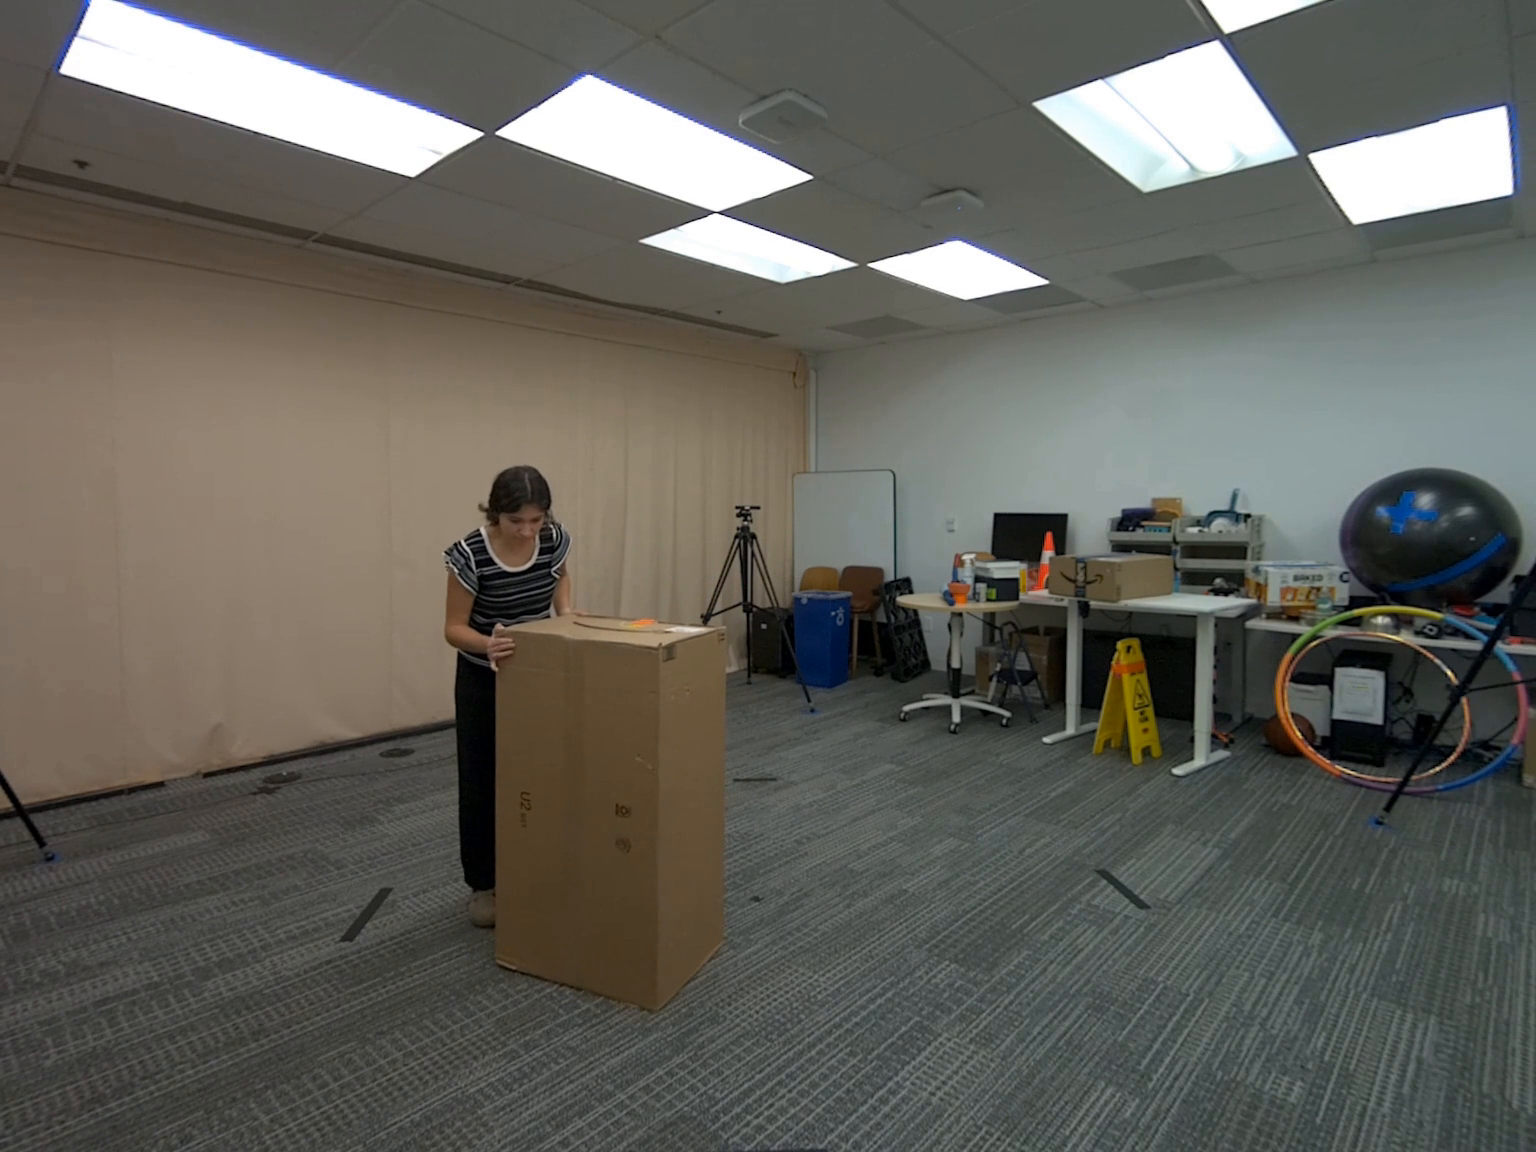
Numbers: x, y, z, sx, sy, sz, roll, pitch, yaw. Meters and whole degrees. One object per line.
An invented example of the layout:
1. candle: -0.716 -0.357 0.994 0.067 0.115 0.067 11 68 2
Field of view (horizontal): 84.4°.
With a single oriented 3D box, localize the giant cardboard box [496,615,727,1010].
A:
1. giant cardboard box: -0.477 0.673 2.597 0.593 1.024 0.416 2 3 26
